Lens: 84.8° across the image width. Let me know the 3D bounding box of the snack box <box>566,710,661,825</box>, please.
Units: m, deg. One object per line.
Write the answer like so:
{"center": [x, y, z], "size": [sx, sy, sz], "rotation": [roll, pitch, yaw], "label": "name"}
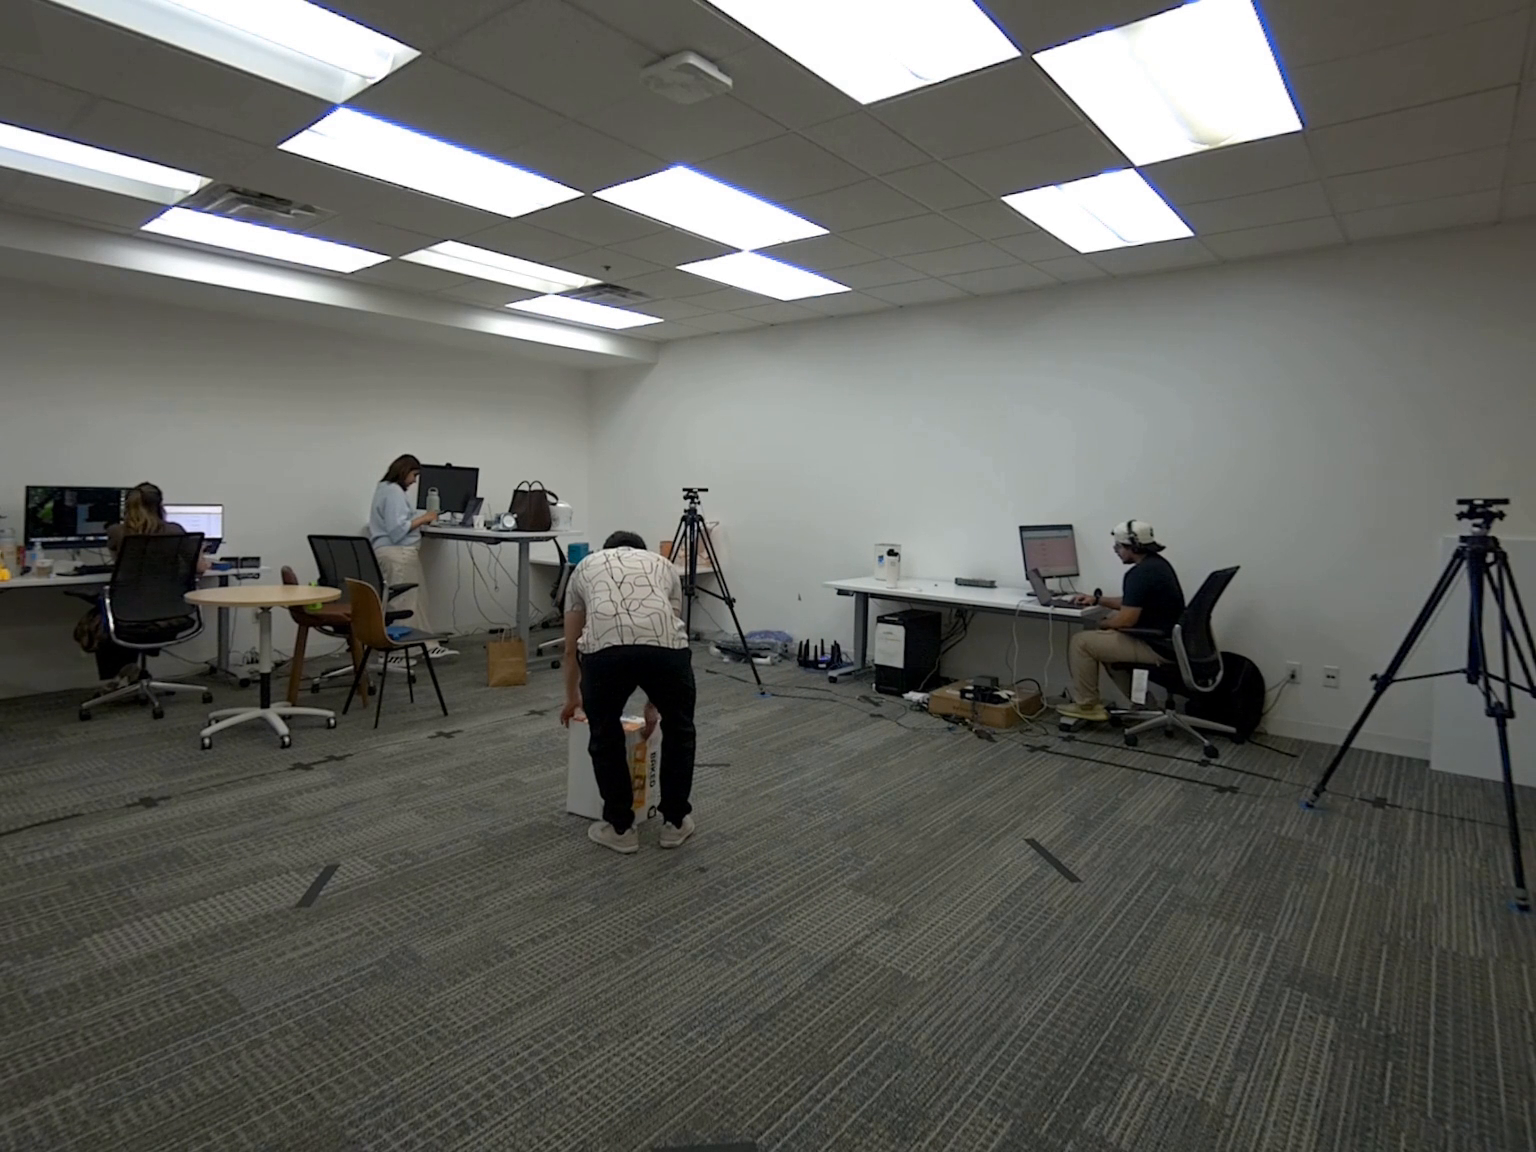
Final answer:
{"center": [-0.677, 0.805, 3.625], "size": [0.350, 0.404, 0.200], "rotation": [4, 3, 29], "label": "snack box"}
